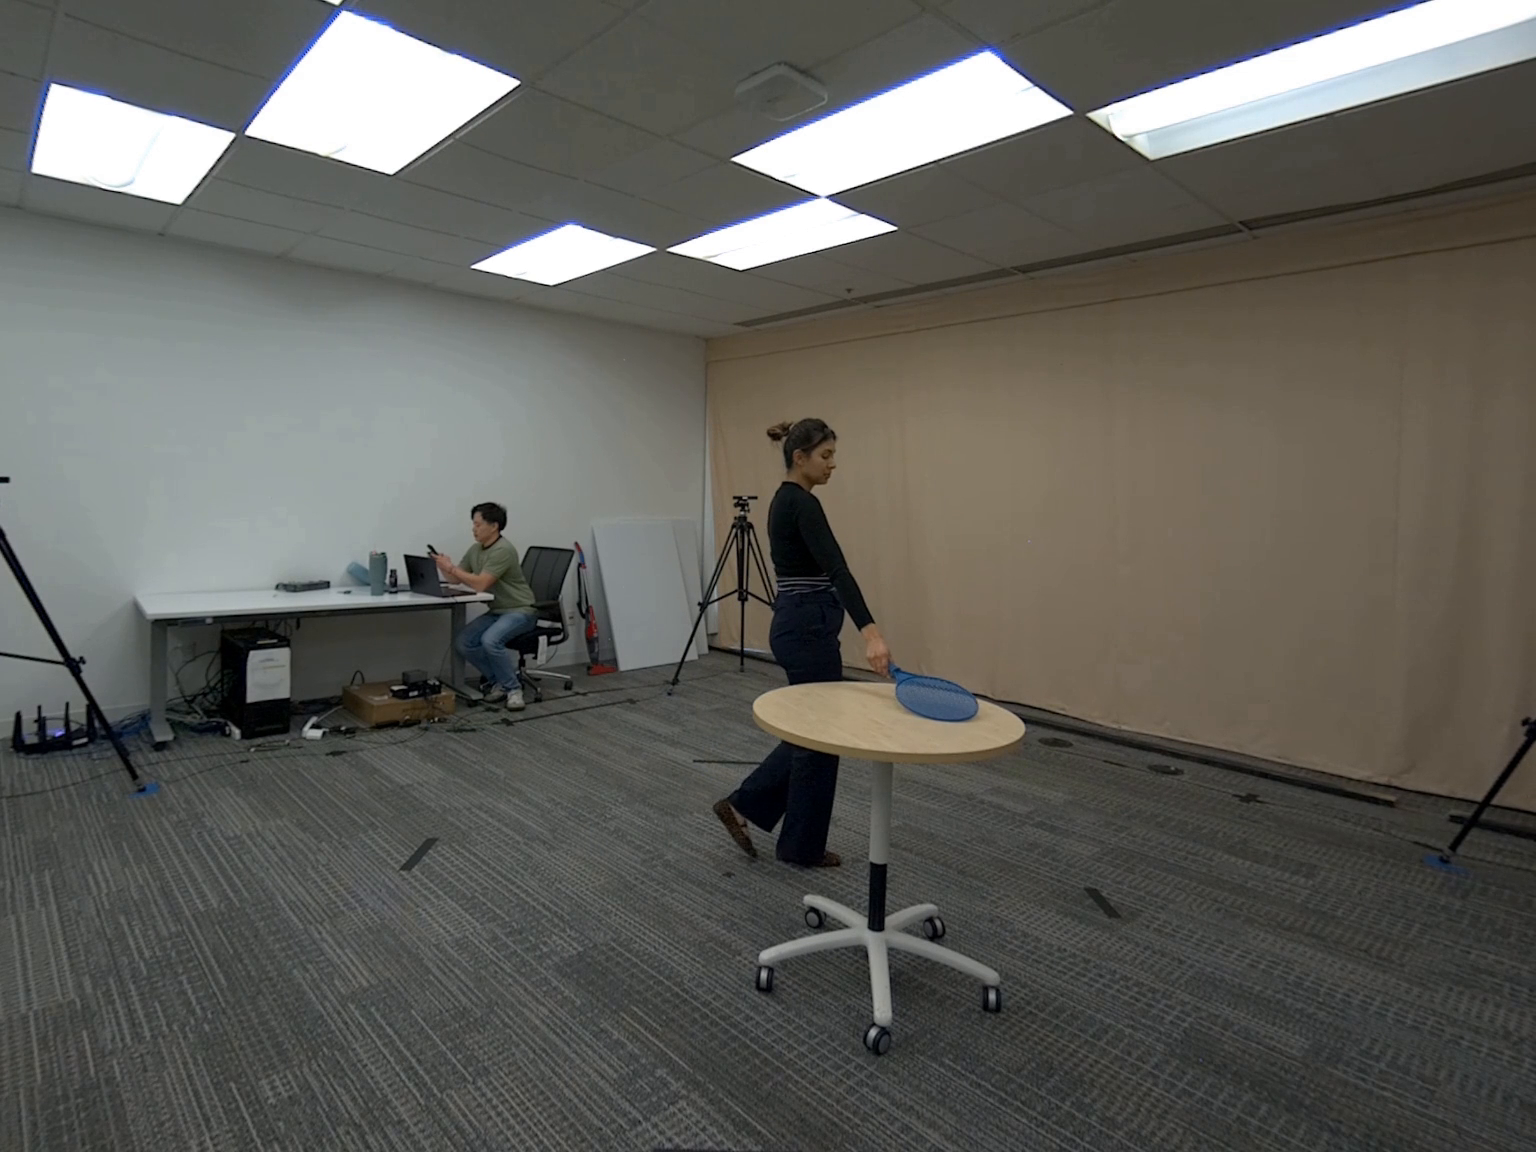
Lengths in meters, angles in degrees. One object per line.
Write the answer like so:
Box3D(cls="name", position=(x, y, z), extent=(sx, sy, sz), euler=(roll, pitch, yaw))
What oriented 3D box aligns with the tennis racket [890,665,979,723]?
Box3D(cls="tennis racket", position=(0.454, 0.343, 2.519), extent=(0.210, 0.031, 0.446), euler=(-13, 23, -28))
